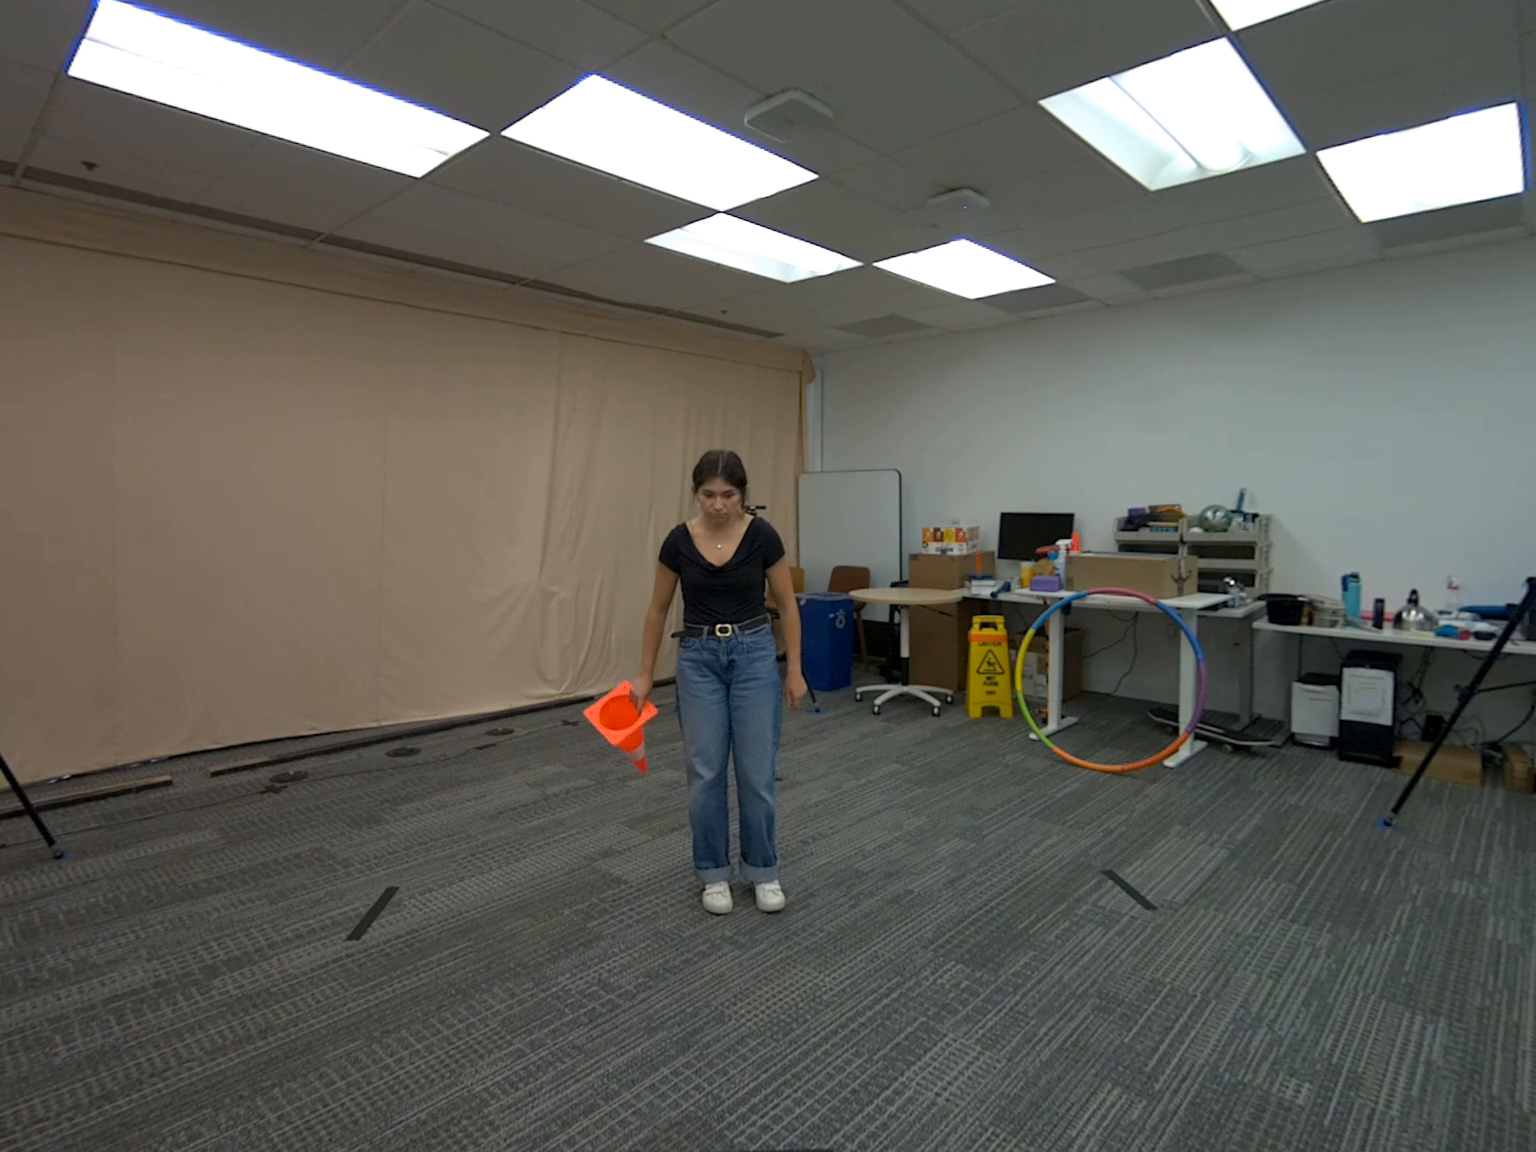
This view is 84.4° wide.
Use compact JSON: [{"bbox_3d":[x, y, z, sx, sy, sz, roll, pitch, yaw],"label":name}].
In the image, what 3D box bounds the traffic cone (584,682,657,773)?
[{"bbox_3d":[-0.461,0.590,3.102,0.210,0.374,0.203,31,58,34],"label":"traffic cone"}]
